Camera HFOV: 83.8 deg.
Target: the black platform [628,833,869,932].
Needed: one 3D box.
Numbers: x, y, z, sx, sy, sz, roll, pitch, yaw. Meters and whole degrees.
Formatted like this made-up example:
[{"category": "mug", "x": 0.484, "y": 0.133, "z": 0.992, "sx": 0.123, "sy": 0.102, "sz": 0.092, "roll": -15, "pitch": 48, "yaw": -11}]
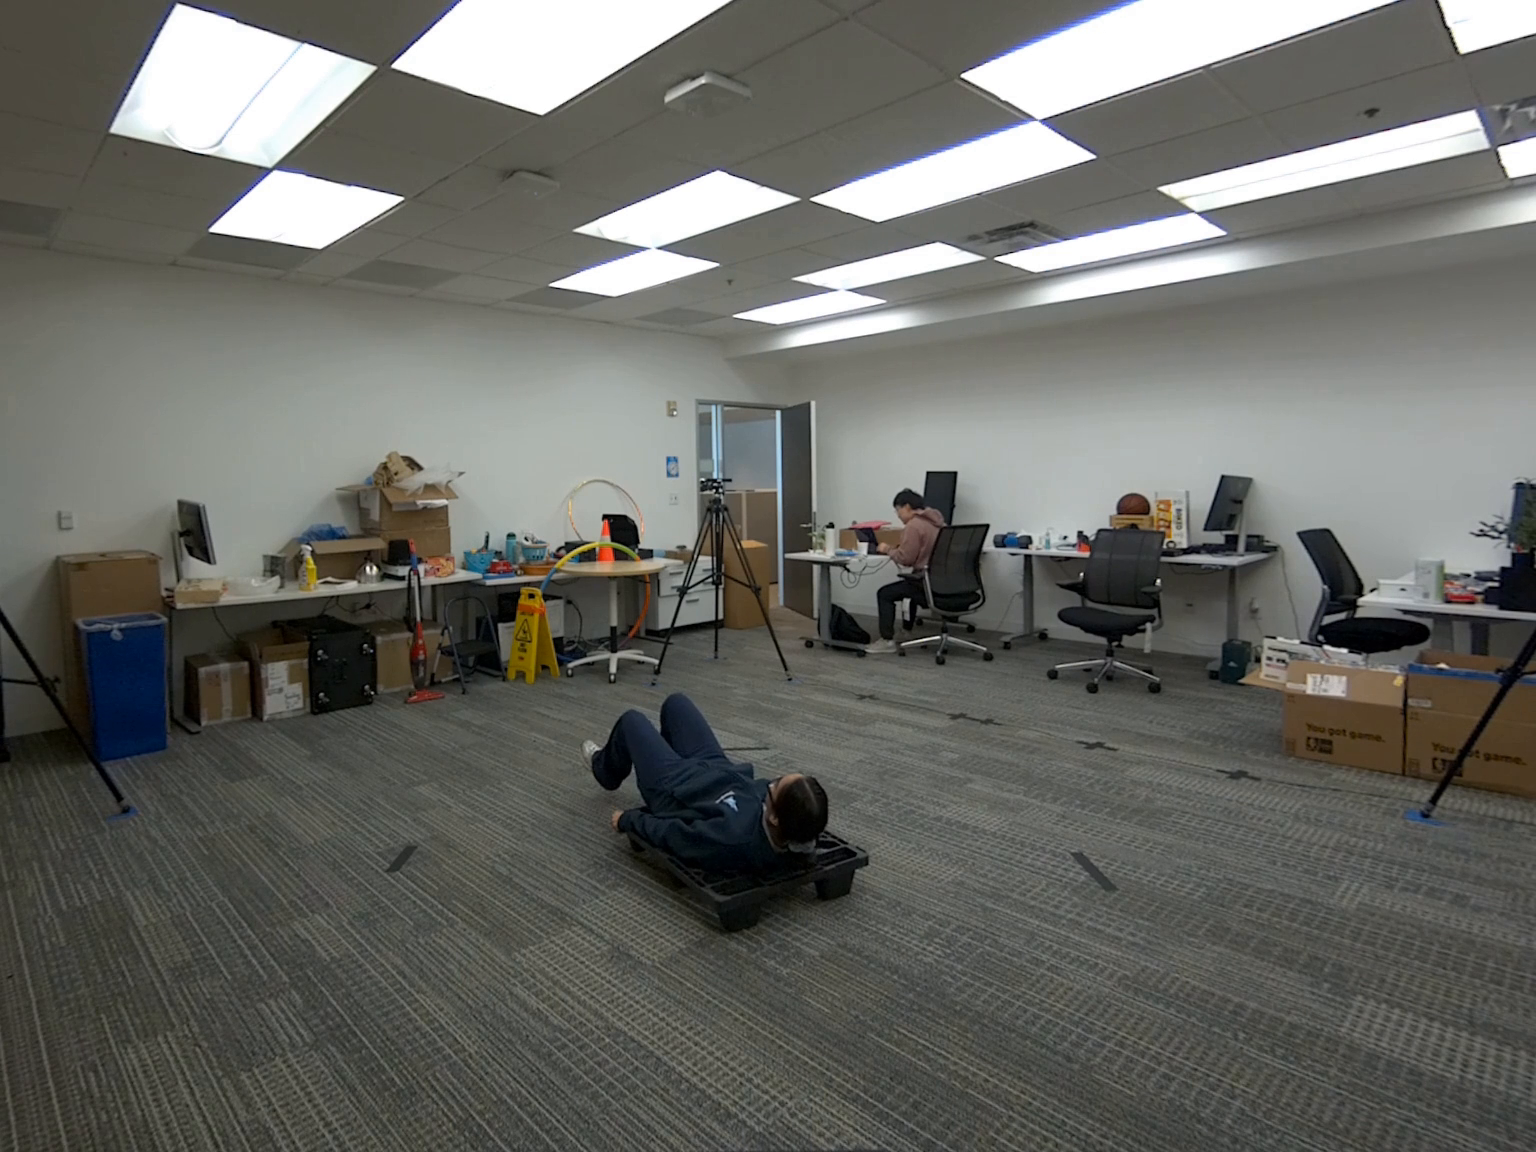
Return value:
[{"category": "black platform", "x": -0.123, "y": 0.985, "z": 3.043, "sx": 0.590, "sy": 0.143, "sz": 0.829, "roll": -4, "pitch": 7, "yaw": -32}]
